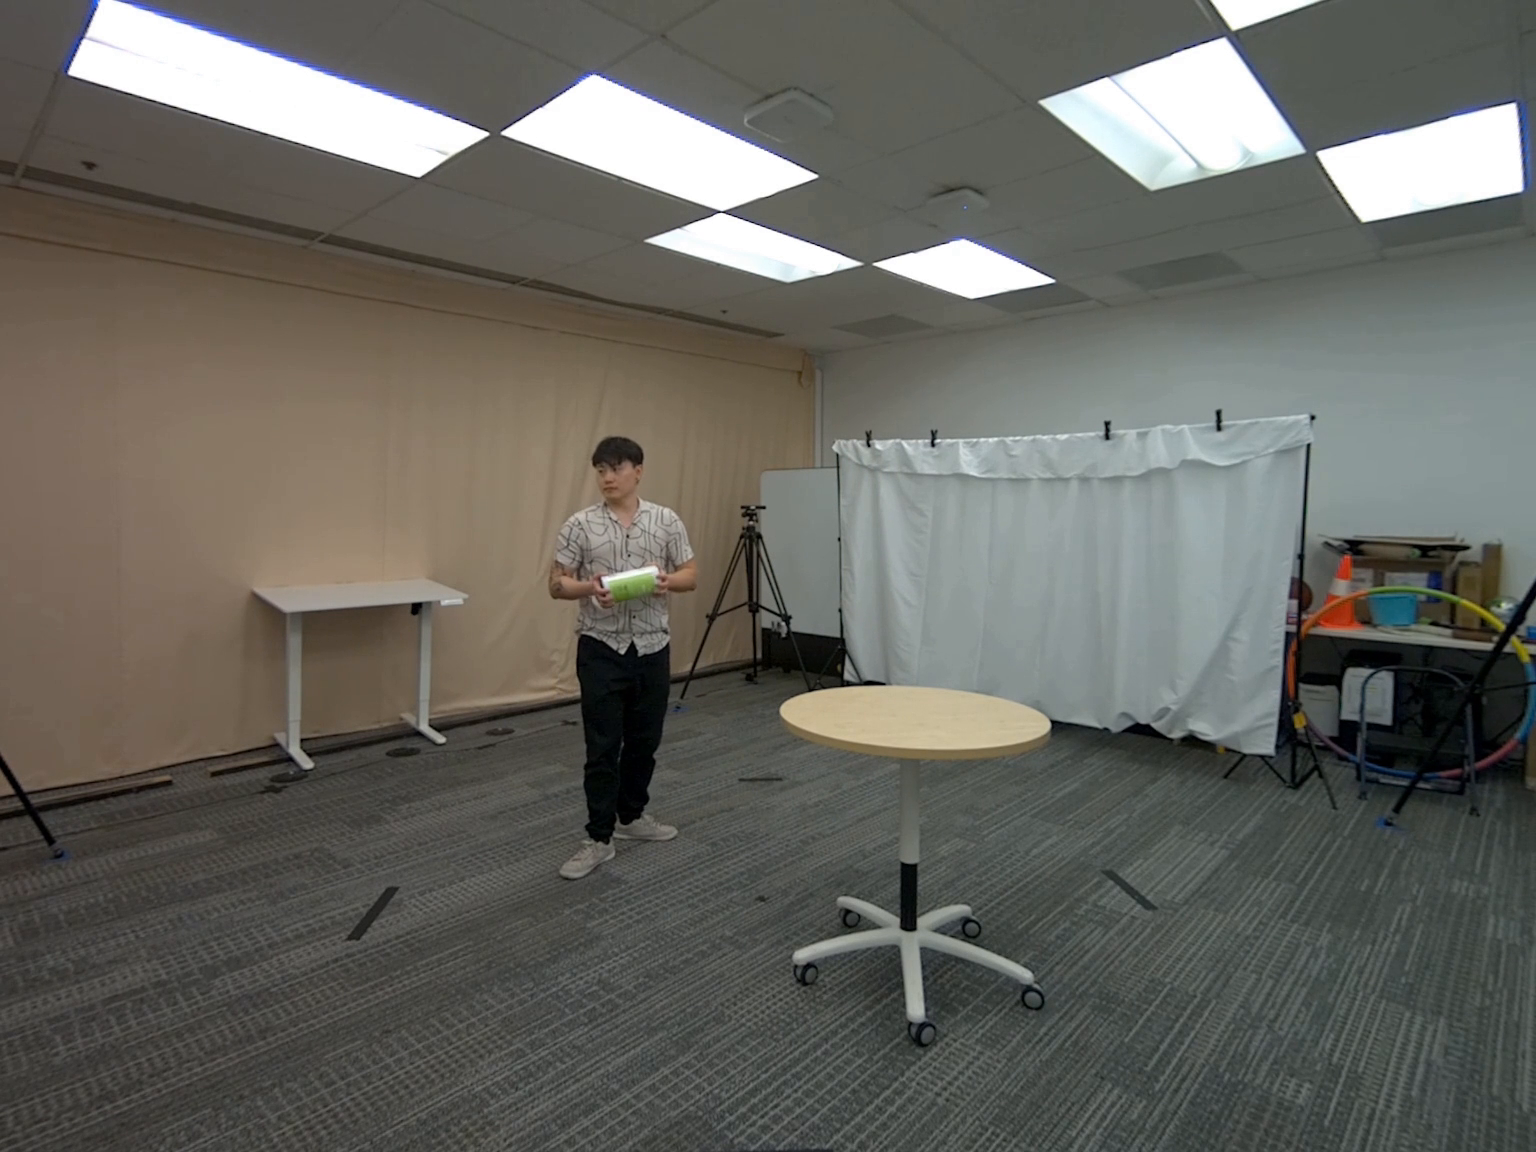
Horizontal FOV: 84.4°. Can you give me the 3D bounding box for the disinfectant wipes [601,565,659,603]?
[{"bbox_3d":[-0.504,0.034,3.150,0.214,0.117,0.120,-13,7,-16],"label":"disinfectant wipes"}]
